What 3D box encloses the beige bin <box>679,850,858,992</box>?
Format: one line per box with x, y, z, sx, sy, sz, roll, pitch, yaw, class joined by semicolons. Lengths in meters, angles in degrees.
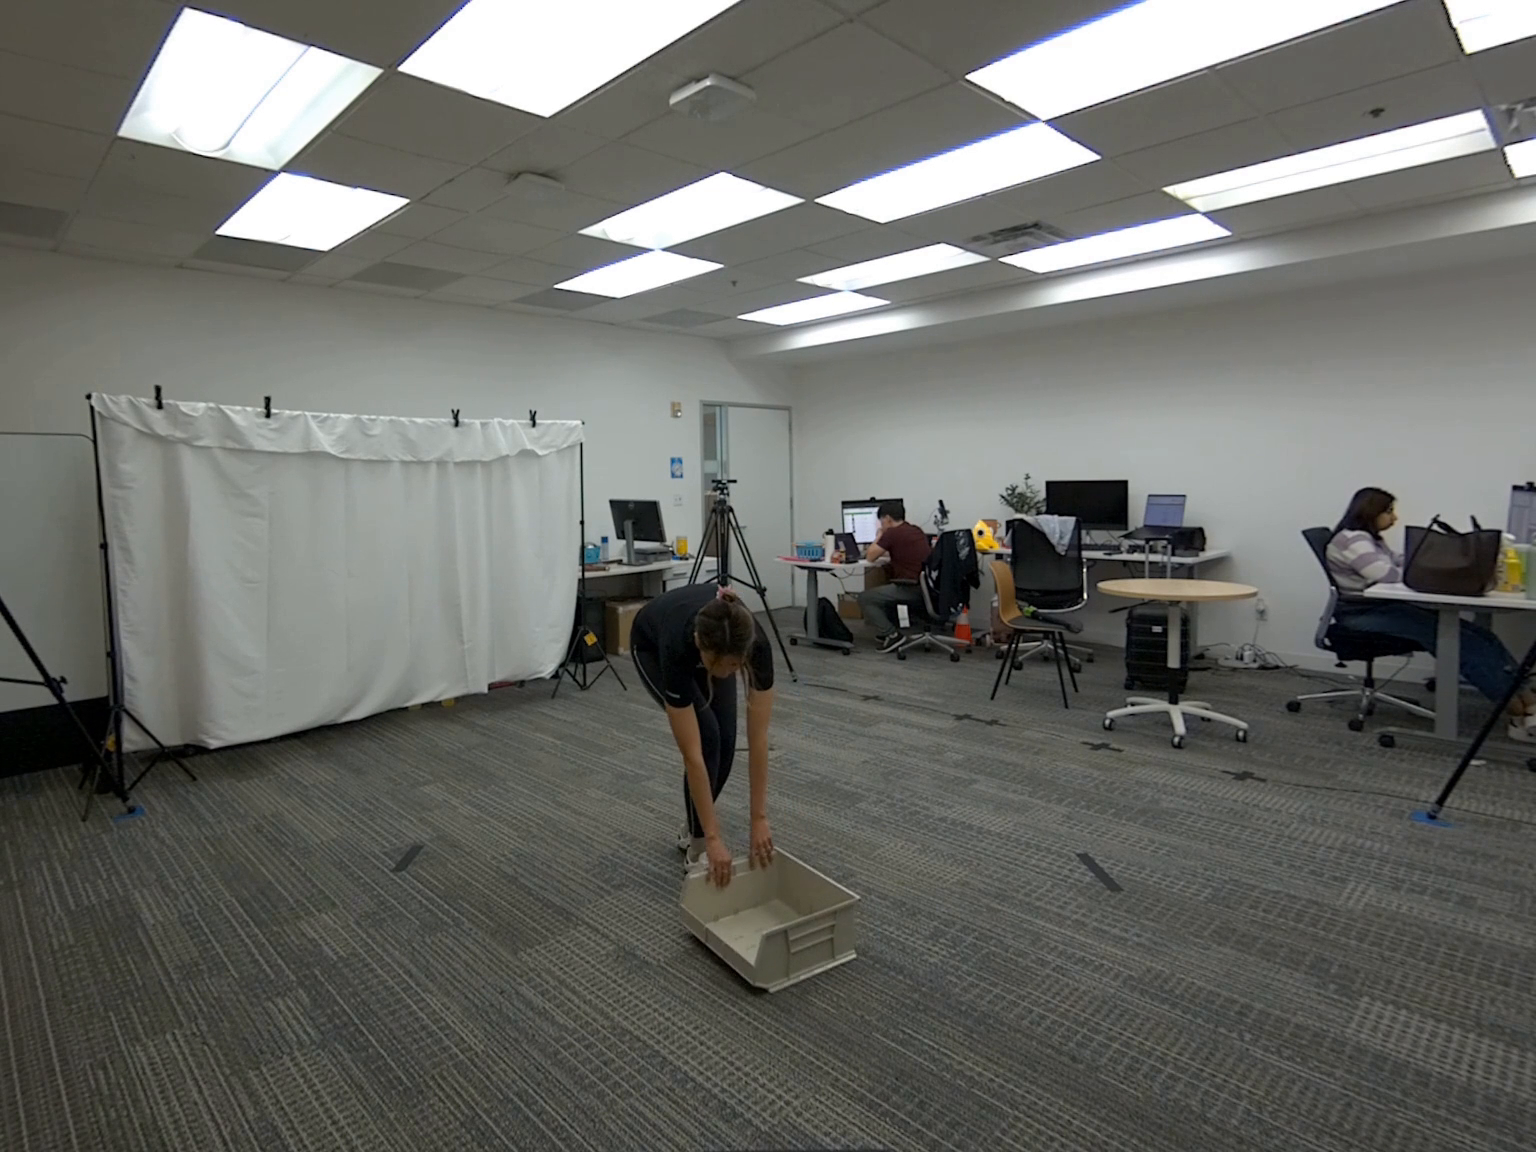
-0.006;1.017;2.565;0.367;0.188;0.434;-2;5;-34;beige bin
